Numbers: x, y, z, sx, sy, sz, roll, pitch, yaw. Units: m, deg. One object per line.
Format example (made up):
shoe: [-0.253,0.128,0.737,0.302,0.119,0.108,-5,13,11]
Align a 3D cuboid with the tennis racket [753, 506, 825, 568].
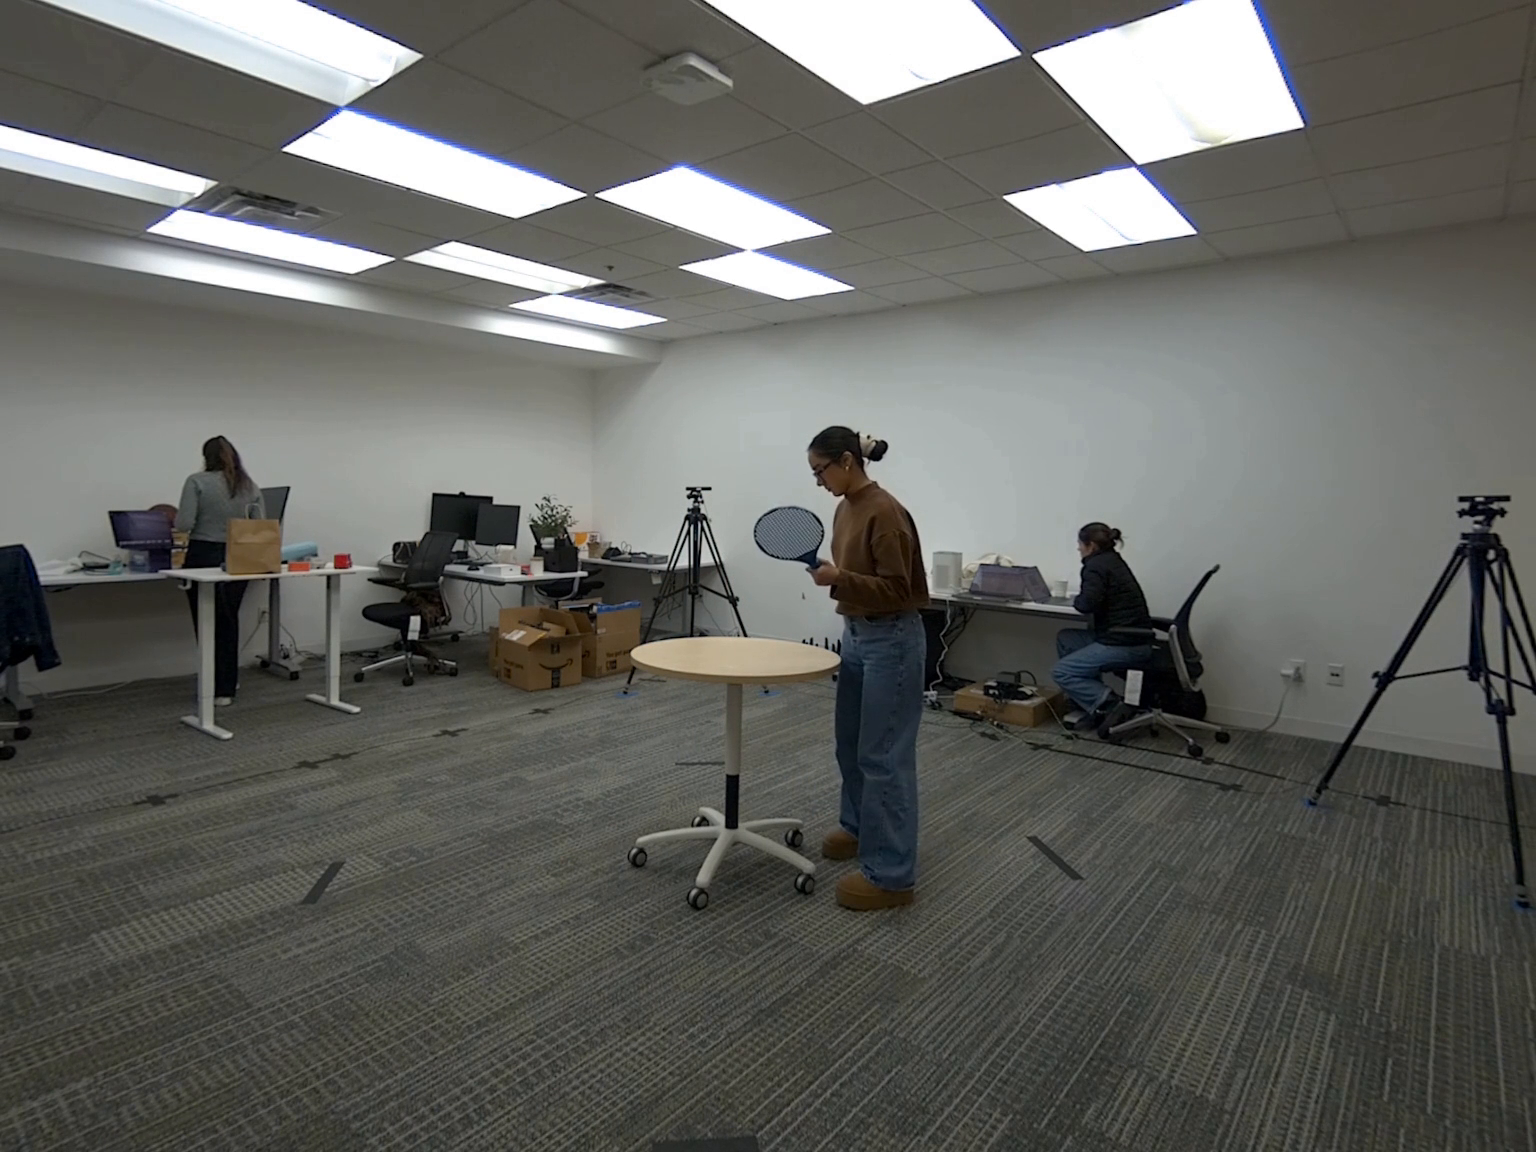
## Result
tennis racket: [0.088,-0.094,2.717,0.215,0.033,0.415,-31,-45,13]
